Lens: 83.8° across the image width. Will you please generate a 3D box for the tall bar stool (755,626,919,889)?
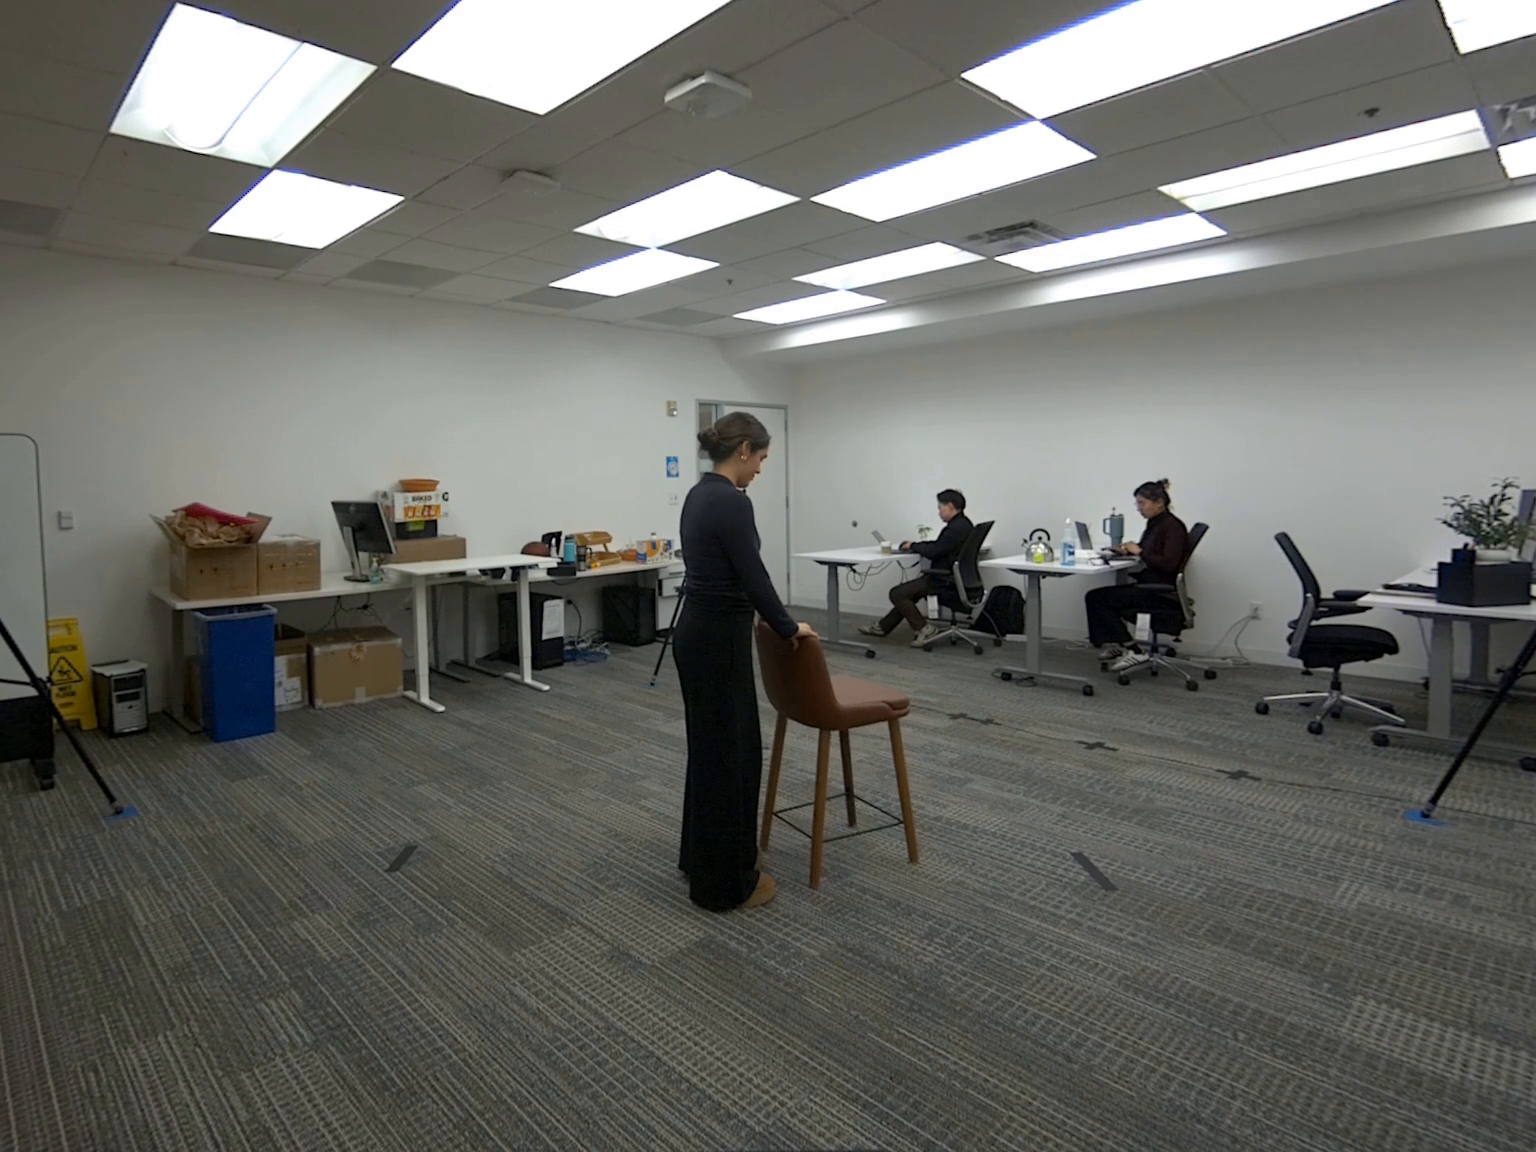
[{"bbox_3d":[0.238,0.594,3.143,0.457,0.886,0.468,-5,5,-28],"label":"tall bar stool"}]
